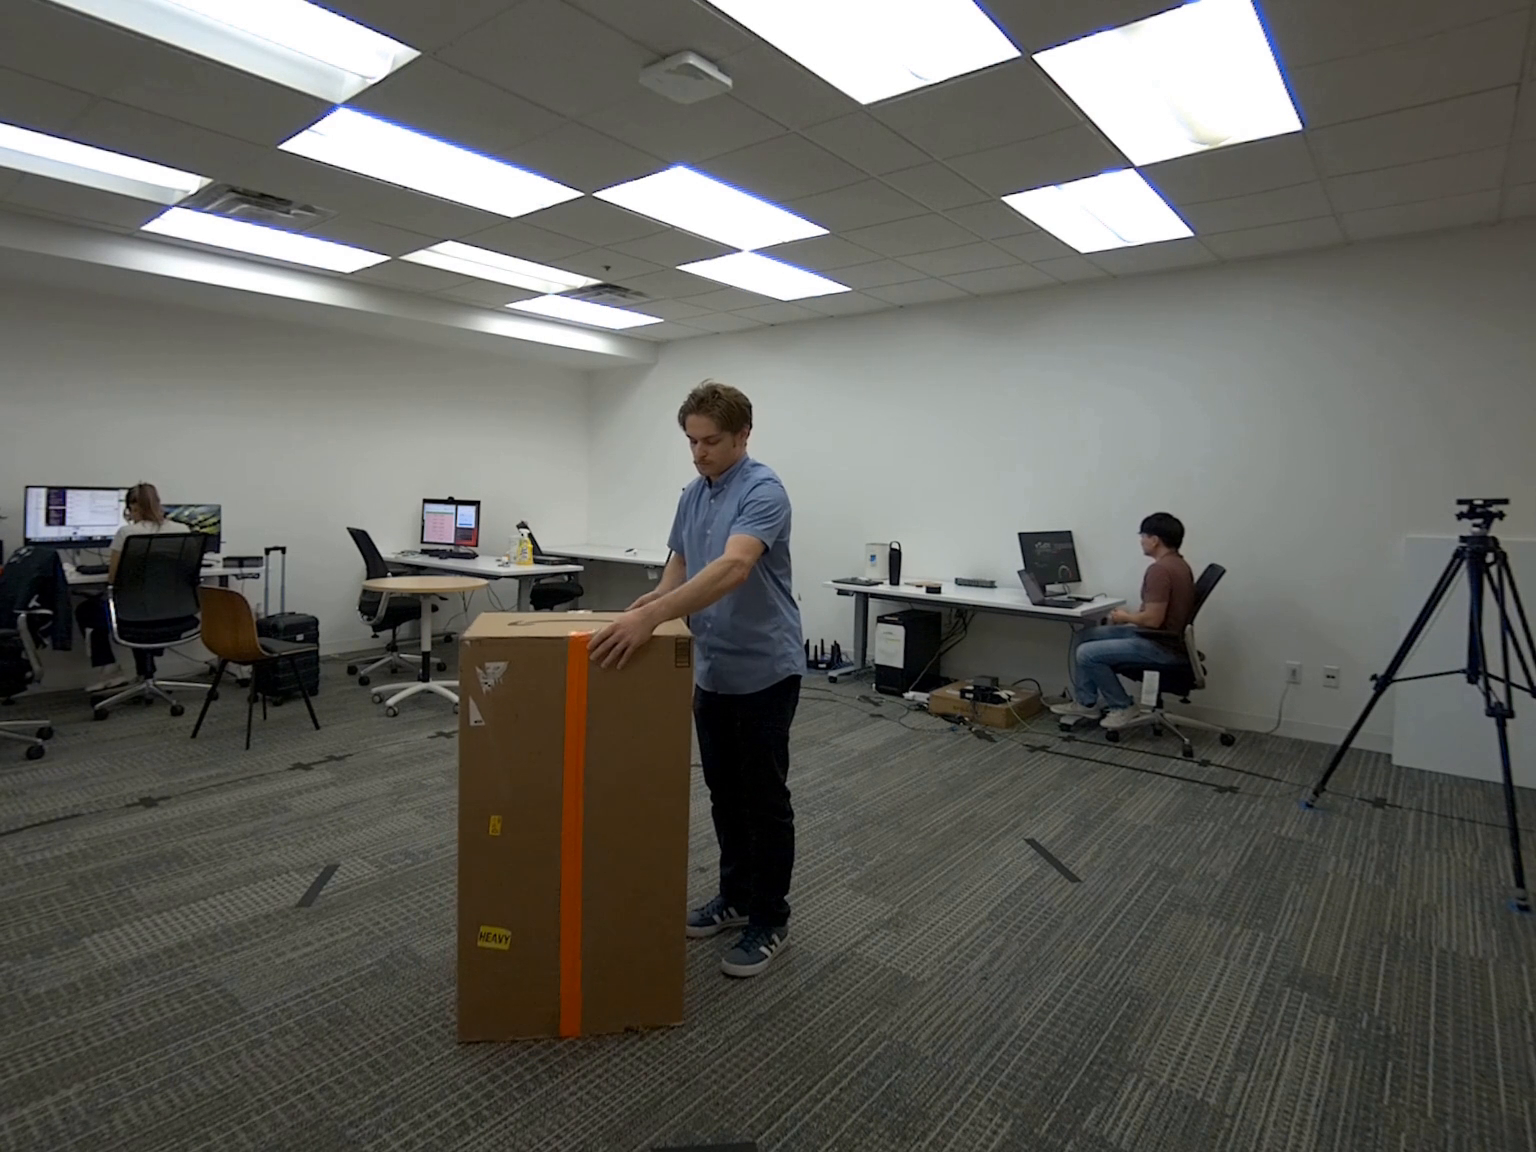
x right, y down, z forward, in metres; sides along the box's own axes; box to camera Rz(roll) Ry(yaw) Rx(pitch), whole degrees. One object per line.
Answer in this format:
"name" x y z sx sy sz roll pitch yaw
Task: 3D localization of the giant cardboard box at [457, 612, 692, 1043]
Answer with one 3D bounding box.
"giant cardboard box" -0.539 0.634 2.323 0.571 1.023 0.432 1 3 -11
